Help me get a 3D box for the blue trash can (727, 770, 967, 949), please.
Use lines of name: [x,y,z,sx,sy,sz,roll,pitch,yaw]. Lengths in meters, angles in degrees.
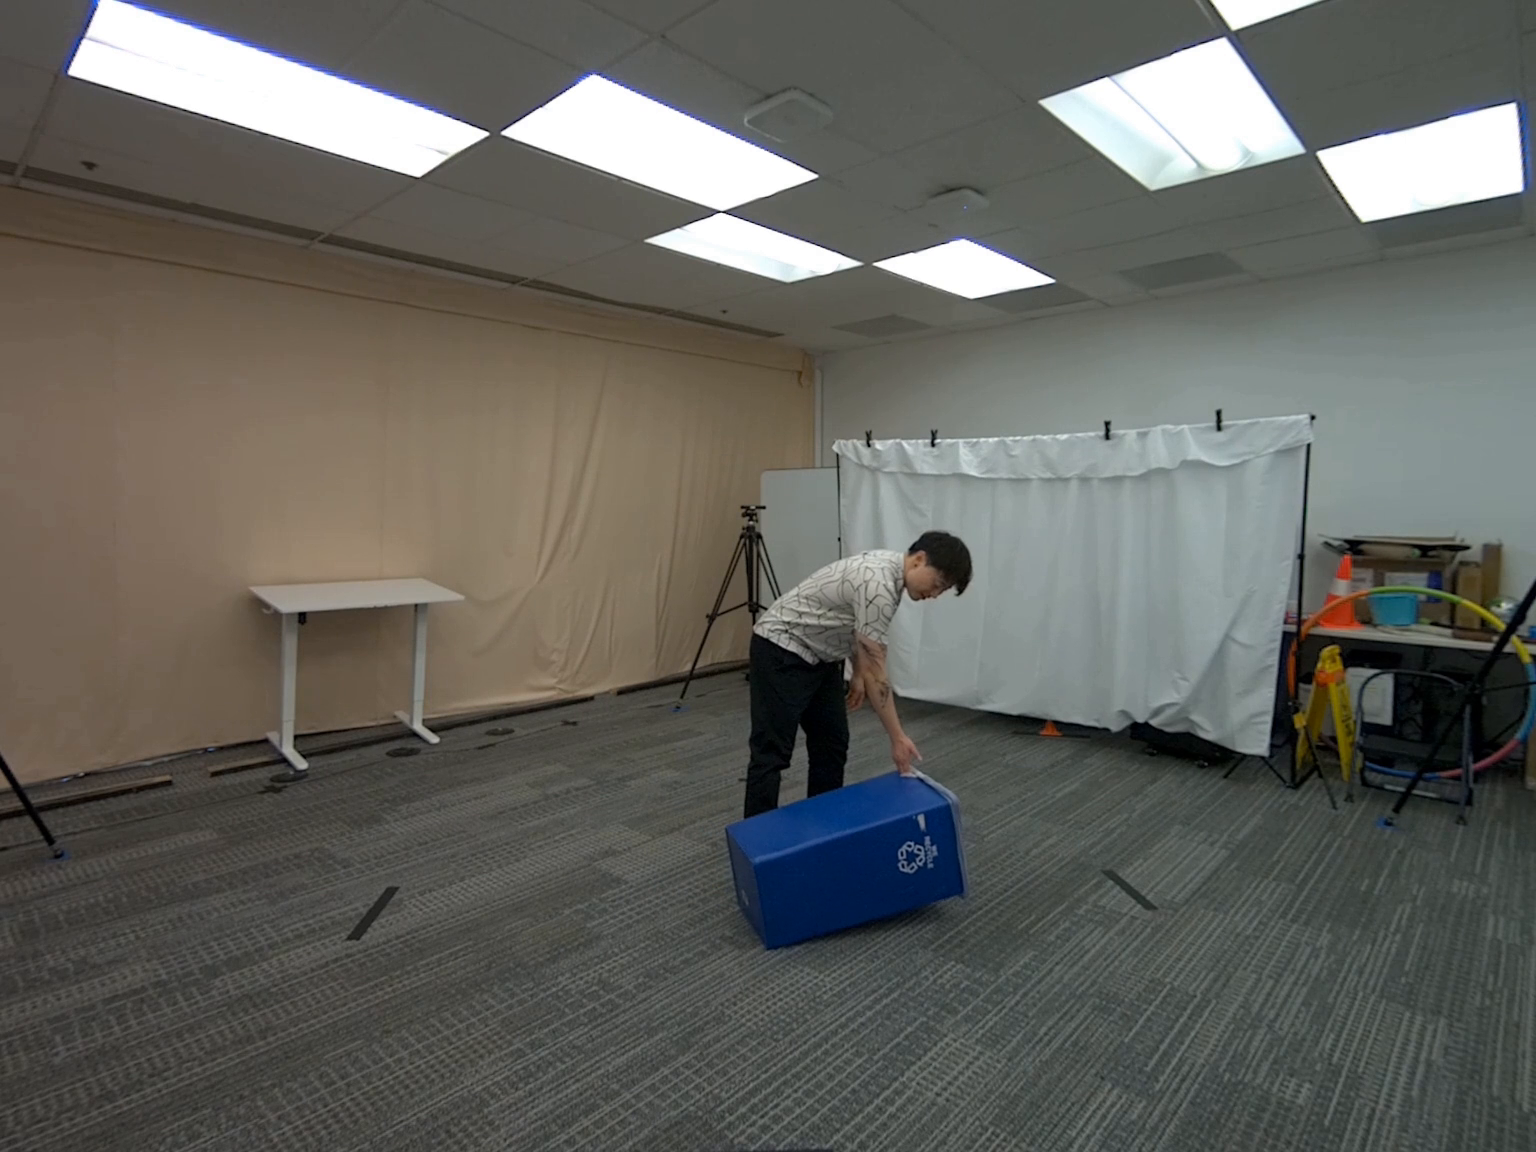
blue trash can: [0.259,0.938,2.855,0.703,0.372,0.386,-11,8,-16]
